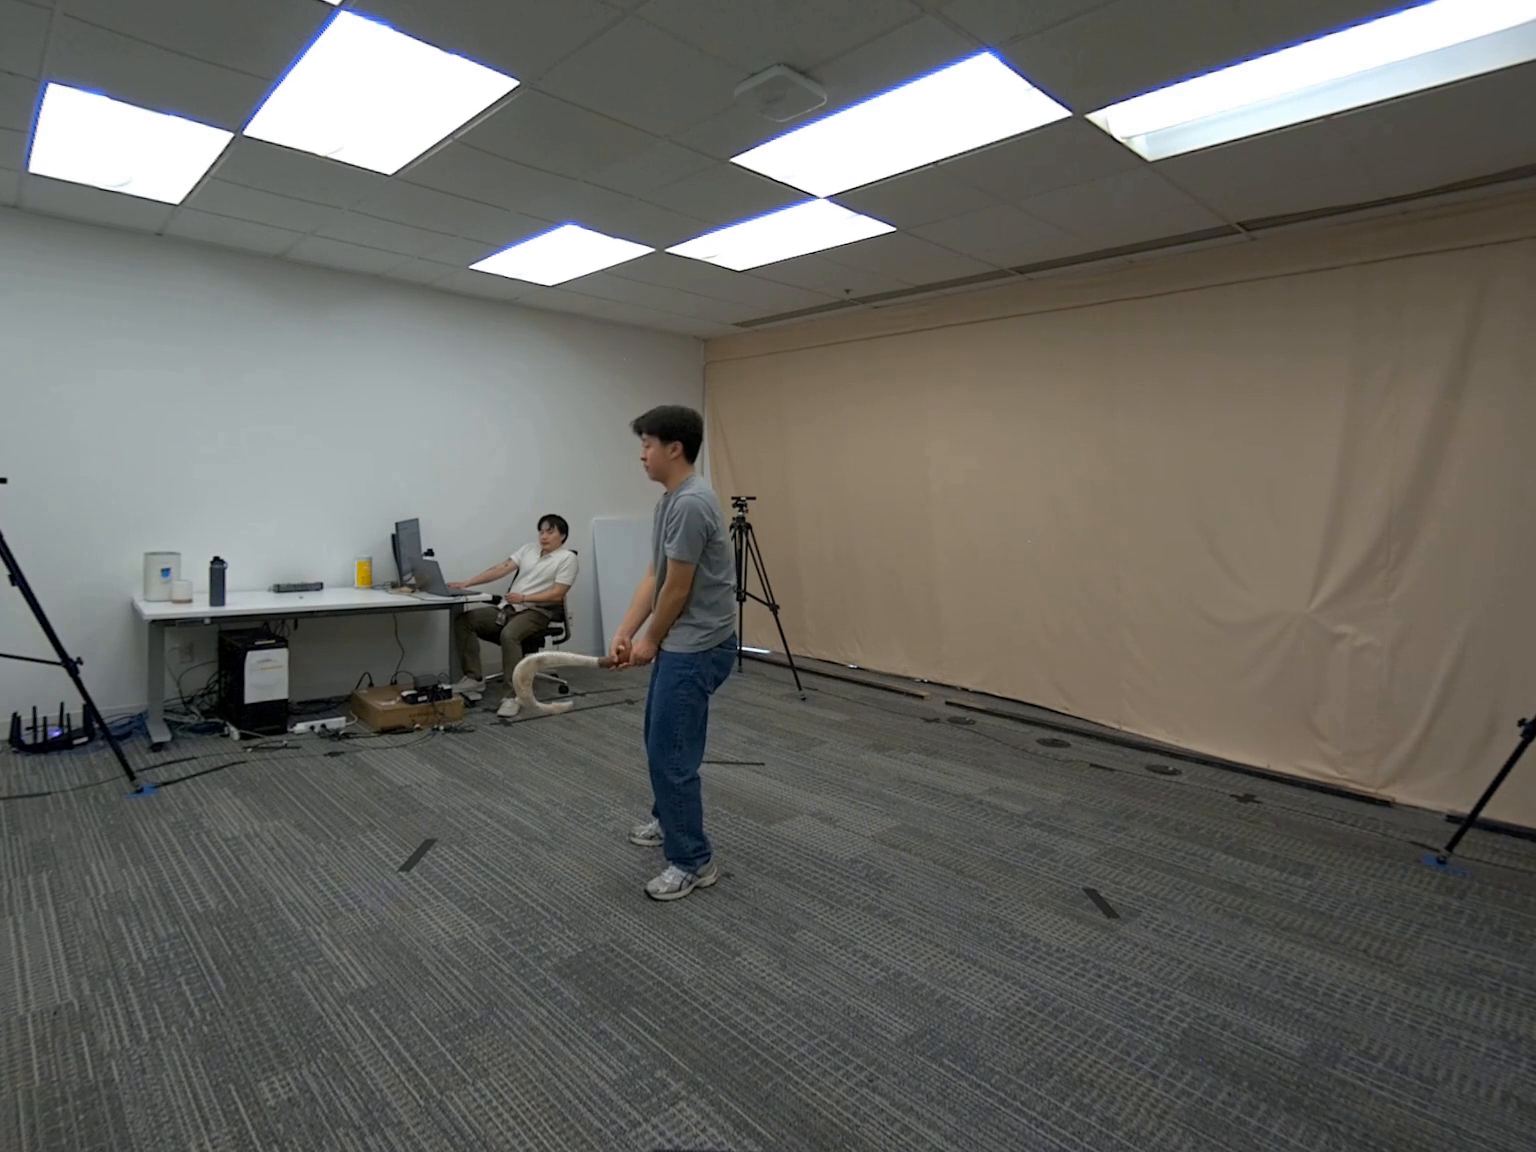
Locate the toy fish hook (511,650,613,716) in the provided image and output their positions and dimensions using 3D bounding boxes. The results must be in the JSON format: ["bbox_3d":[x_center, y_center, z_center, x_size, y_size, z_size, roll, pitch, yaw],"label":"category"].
[{"bbox_3d":[-0.649,0.370,3.018,0.505,0.223,0.049,-6,9,-4],"label":"toy fish hook"}]
